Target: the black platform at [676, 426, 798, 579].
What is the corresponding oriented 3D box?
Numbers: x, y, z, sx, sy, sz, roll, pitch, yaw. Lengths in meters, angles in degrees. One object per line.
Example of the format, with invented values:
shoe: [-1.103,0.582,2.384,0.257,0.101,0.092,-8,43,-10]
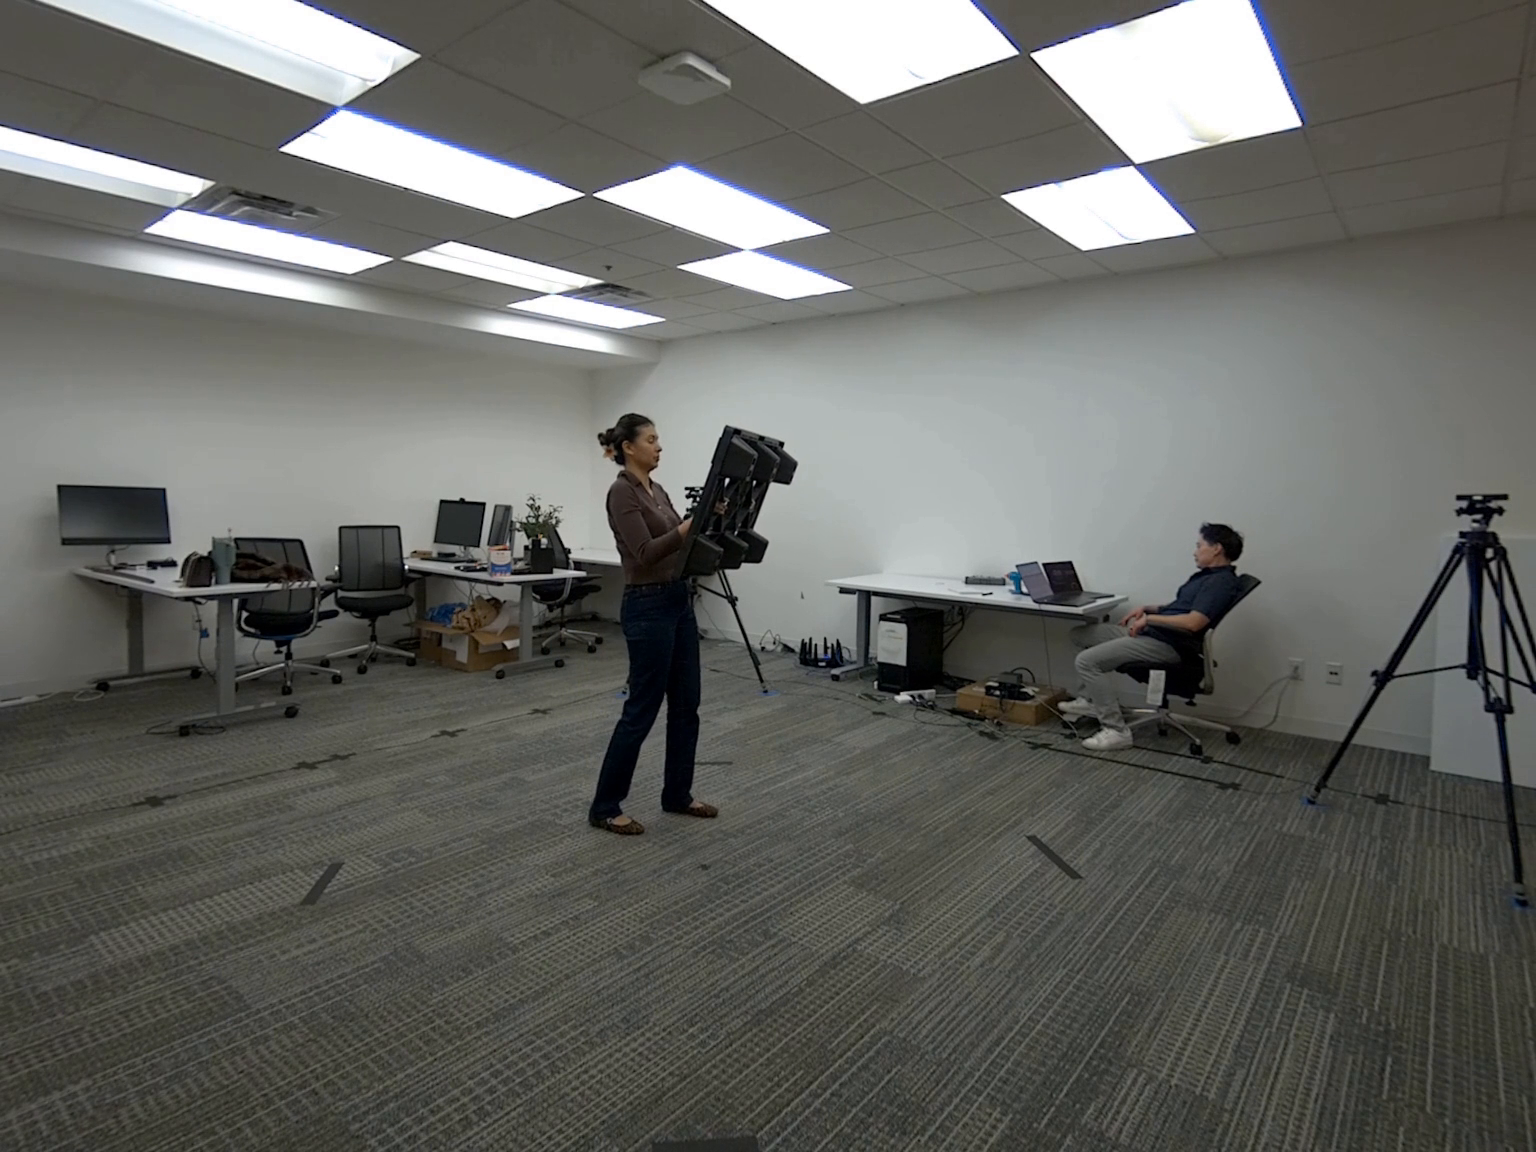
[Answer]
black platform: [-0.110,-0.278,3.417,0.146,0.602,0.794,23,9,12]
